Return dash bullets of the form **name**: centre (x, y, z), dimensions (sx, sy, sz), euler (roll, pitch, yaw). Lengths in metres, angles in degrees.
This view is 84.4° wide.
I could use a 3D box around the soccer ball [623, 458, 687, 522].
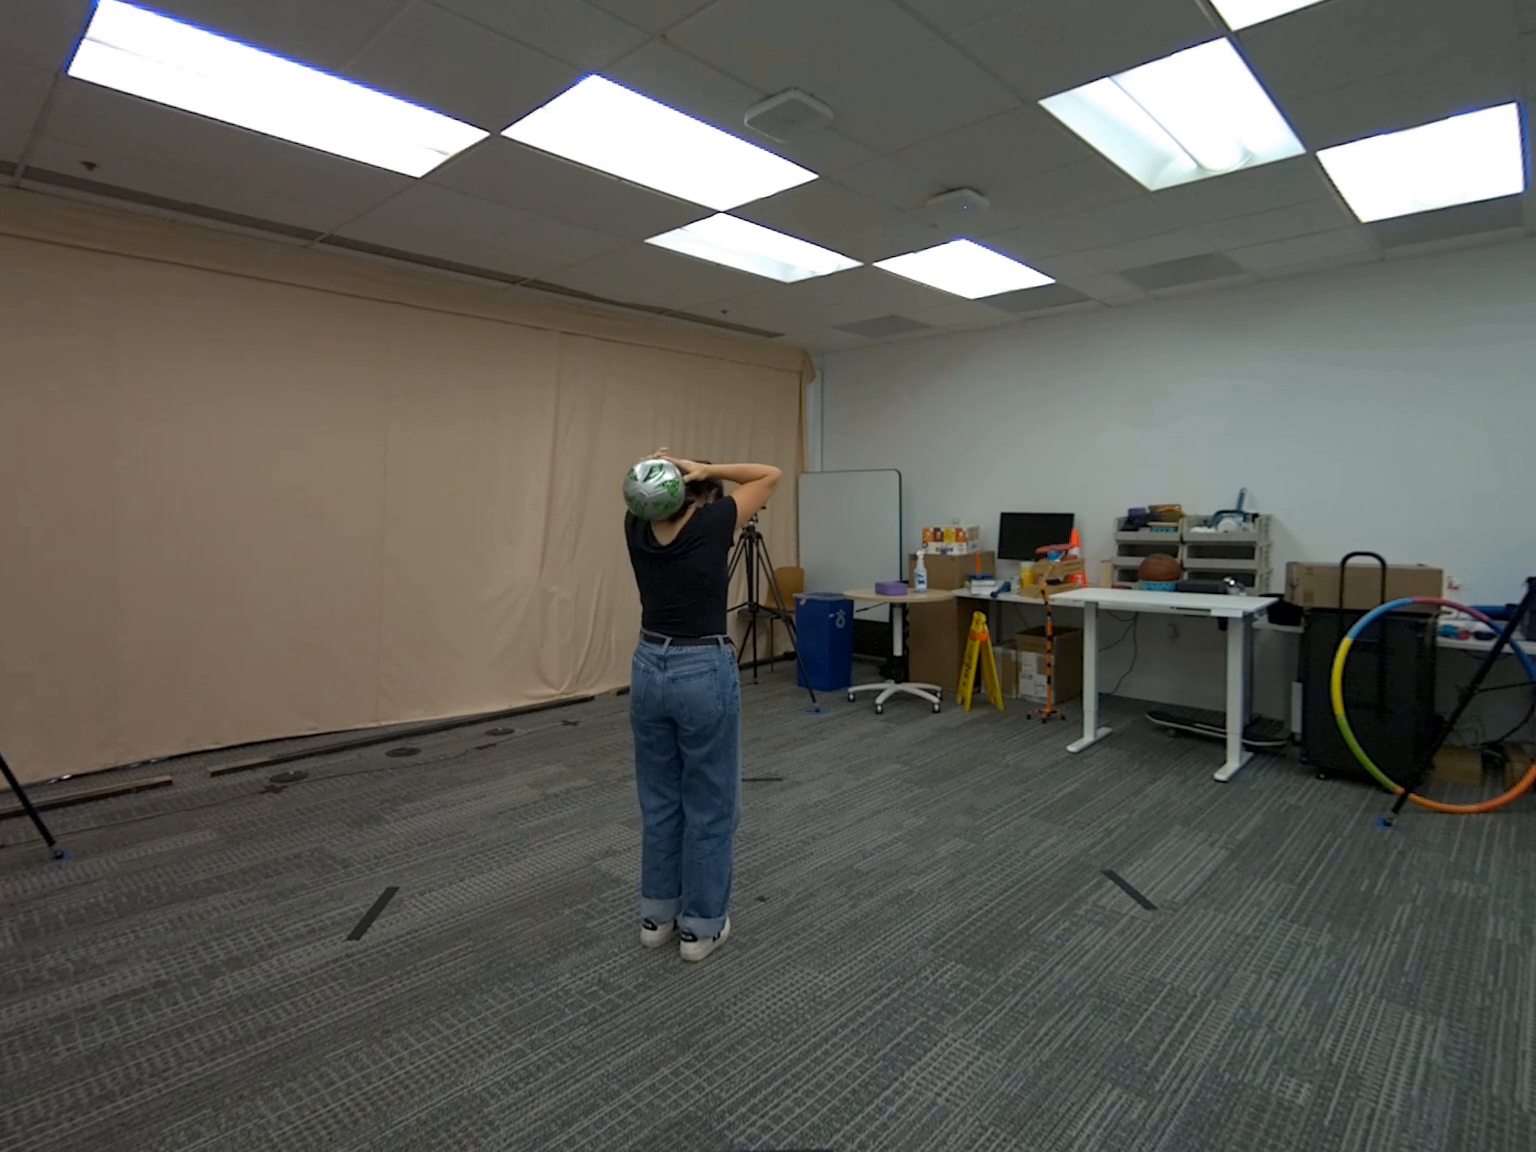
- **soccer ball**: centre (-0.332, -0.255, 2.519), dimensions (0.187, 0.187, 0.188), euler (0, 4, -2)
